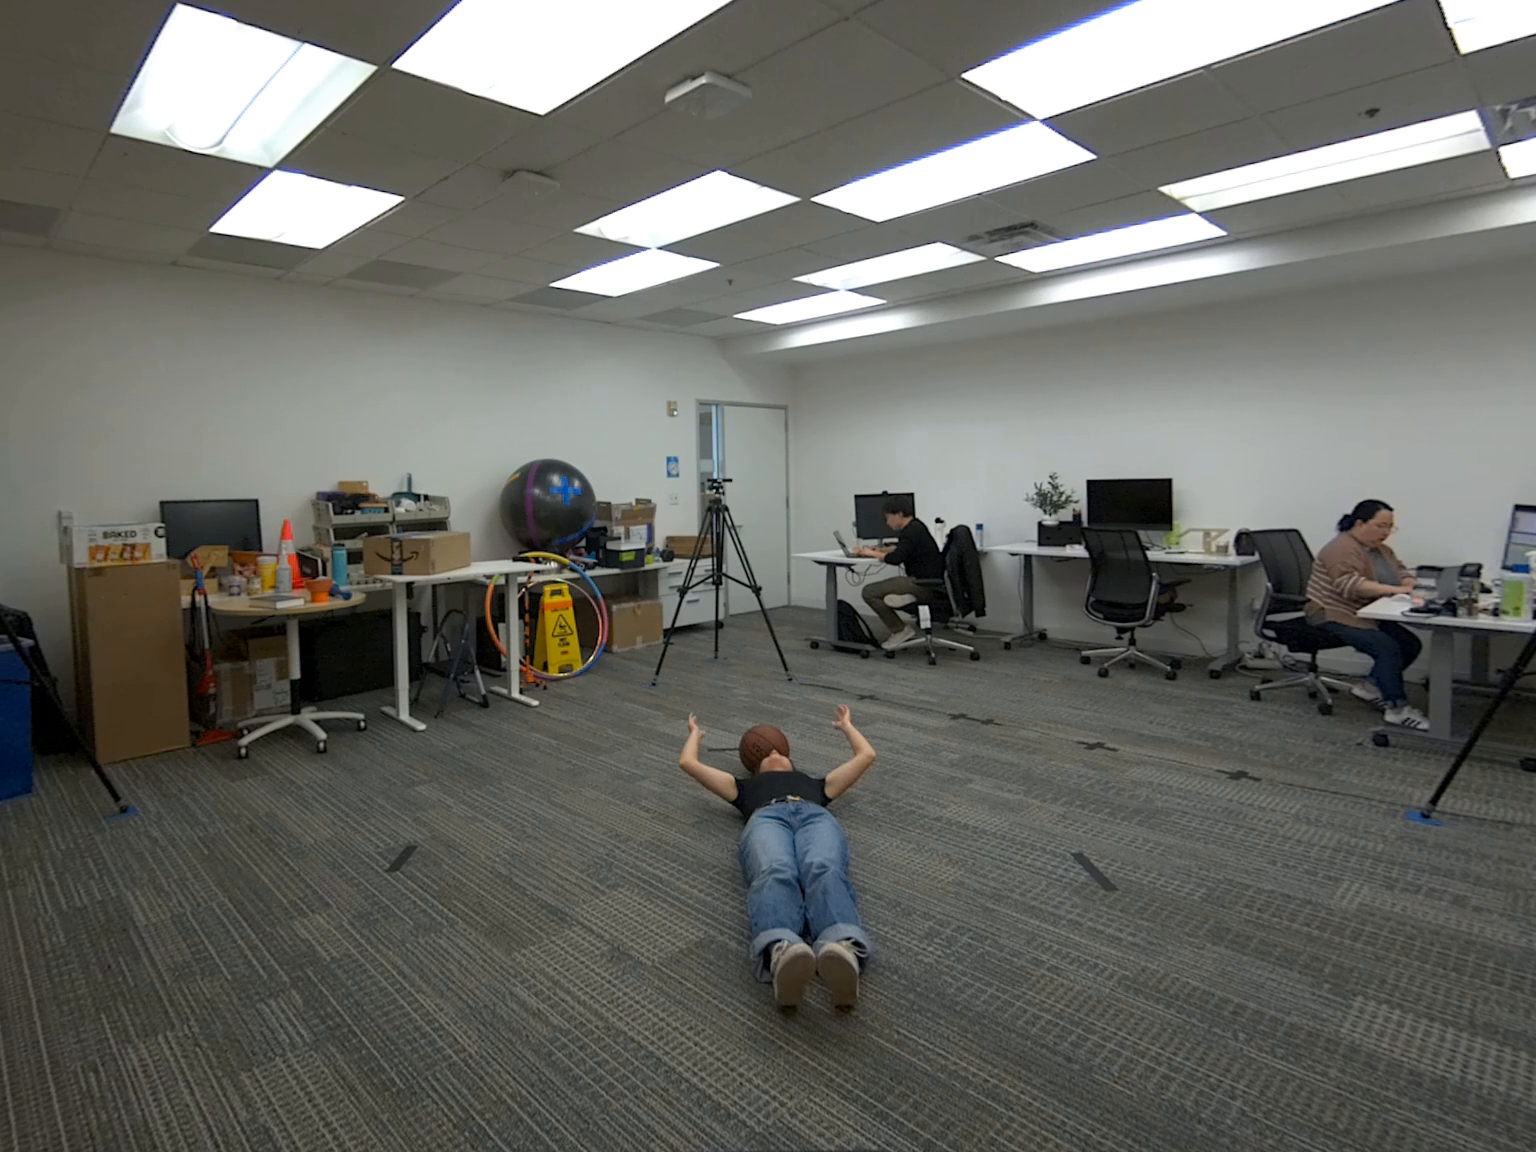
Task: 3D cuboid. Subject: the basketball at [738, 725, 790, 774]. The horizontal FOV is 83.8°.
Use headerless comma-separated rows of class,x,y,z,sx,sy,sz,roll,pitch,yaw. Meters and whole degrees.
basketball,-0.017,0.818,4.034,0.236,0.235,0.237,-1,5,-2
